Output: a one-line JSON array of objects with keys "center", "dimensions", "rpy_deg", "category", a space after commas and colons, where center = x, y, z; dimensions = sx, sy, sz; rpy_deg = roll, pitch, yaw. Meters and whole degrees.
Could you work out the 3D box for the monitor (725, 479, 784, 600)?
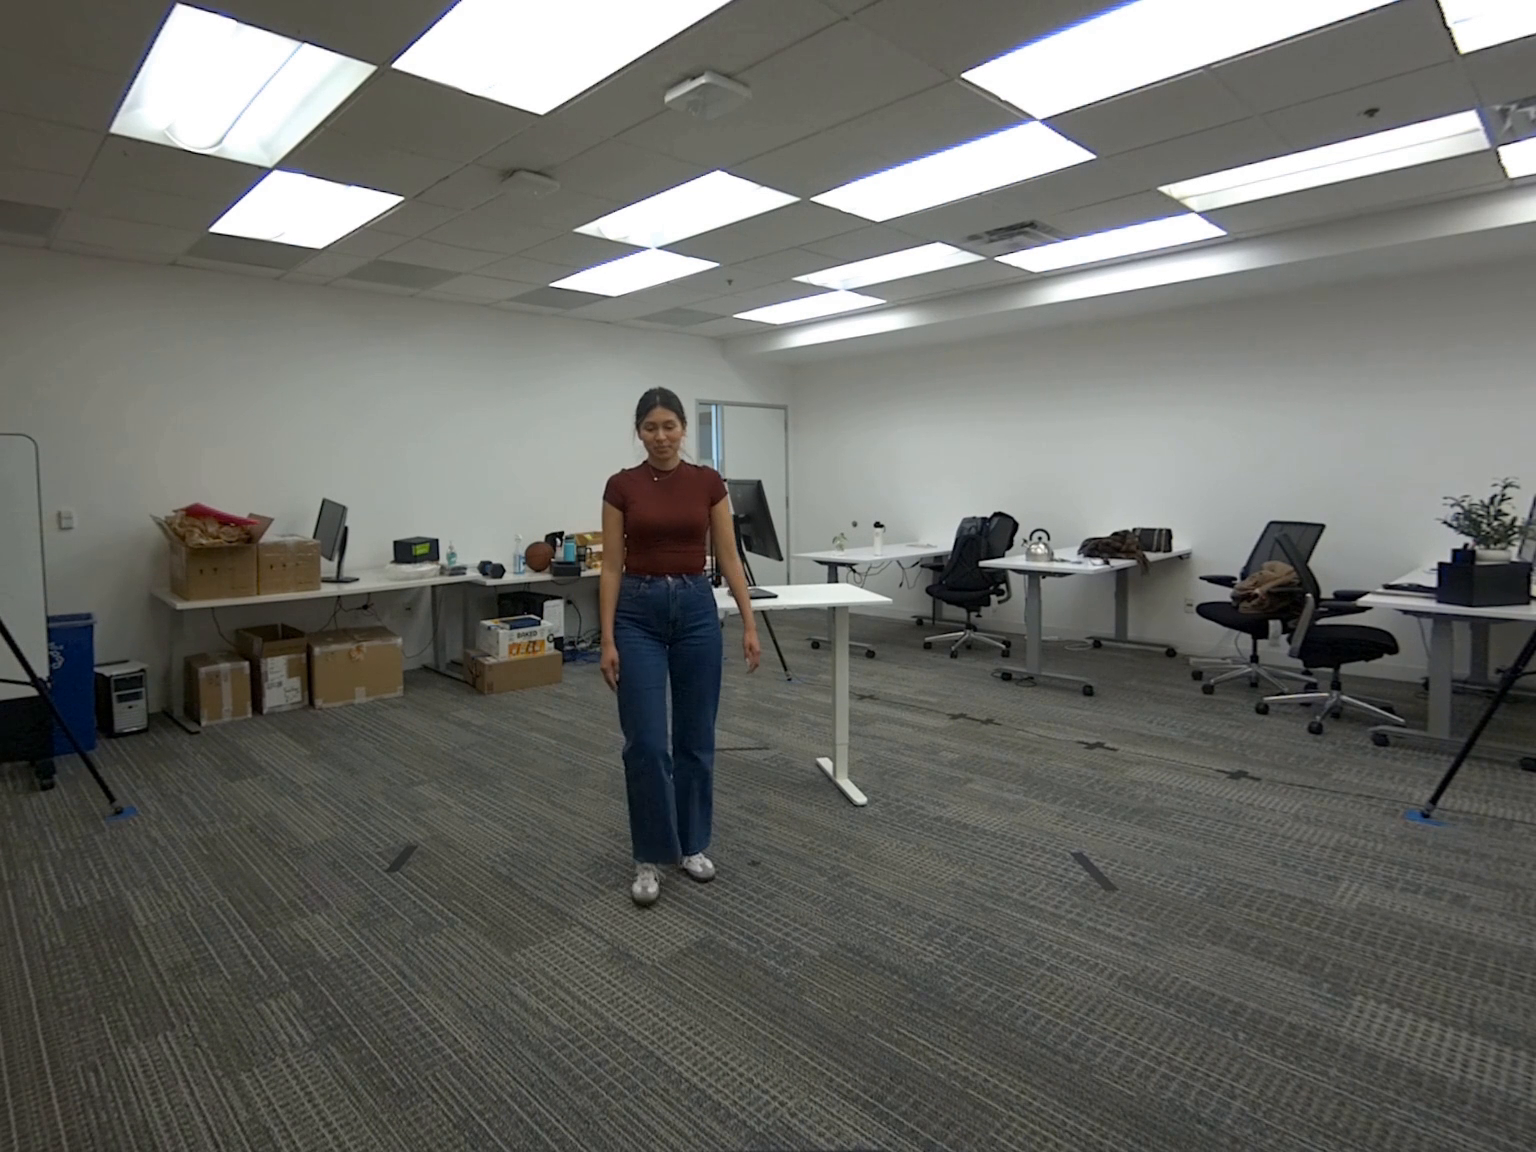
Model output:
[{"center": [-0.095, -0.168, 3.784], "dimensions": [0.184, 0.520, 0.550], "rpy_deg": [-4, 7, -18], "category": "monitor"}]
